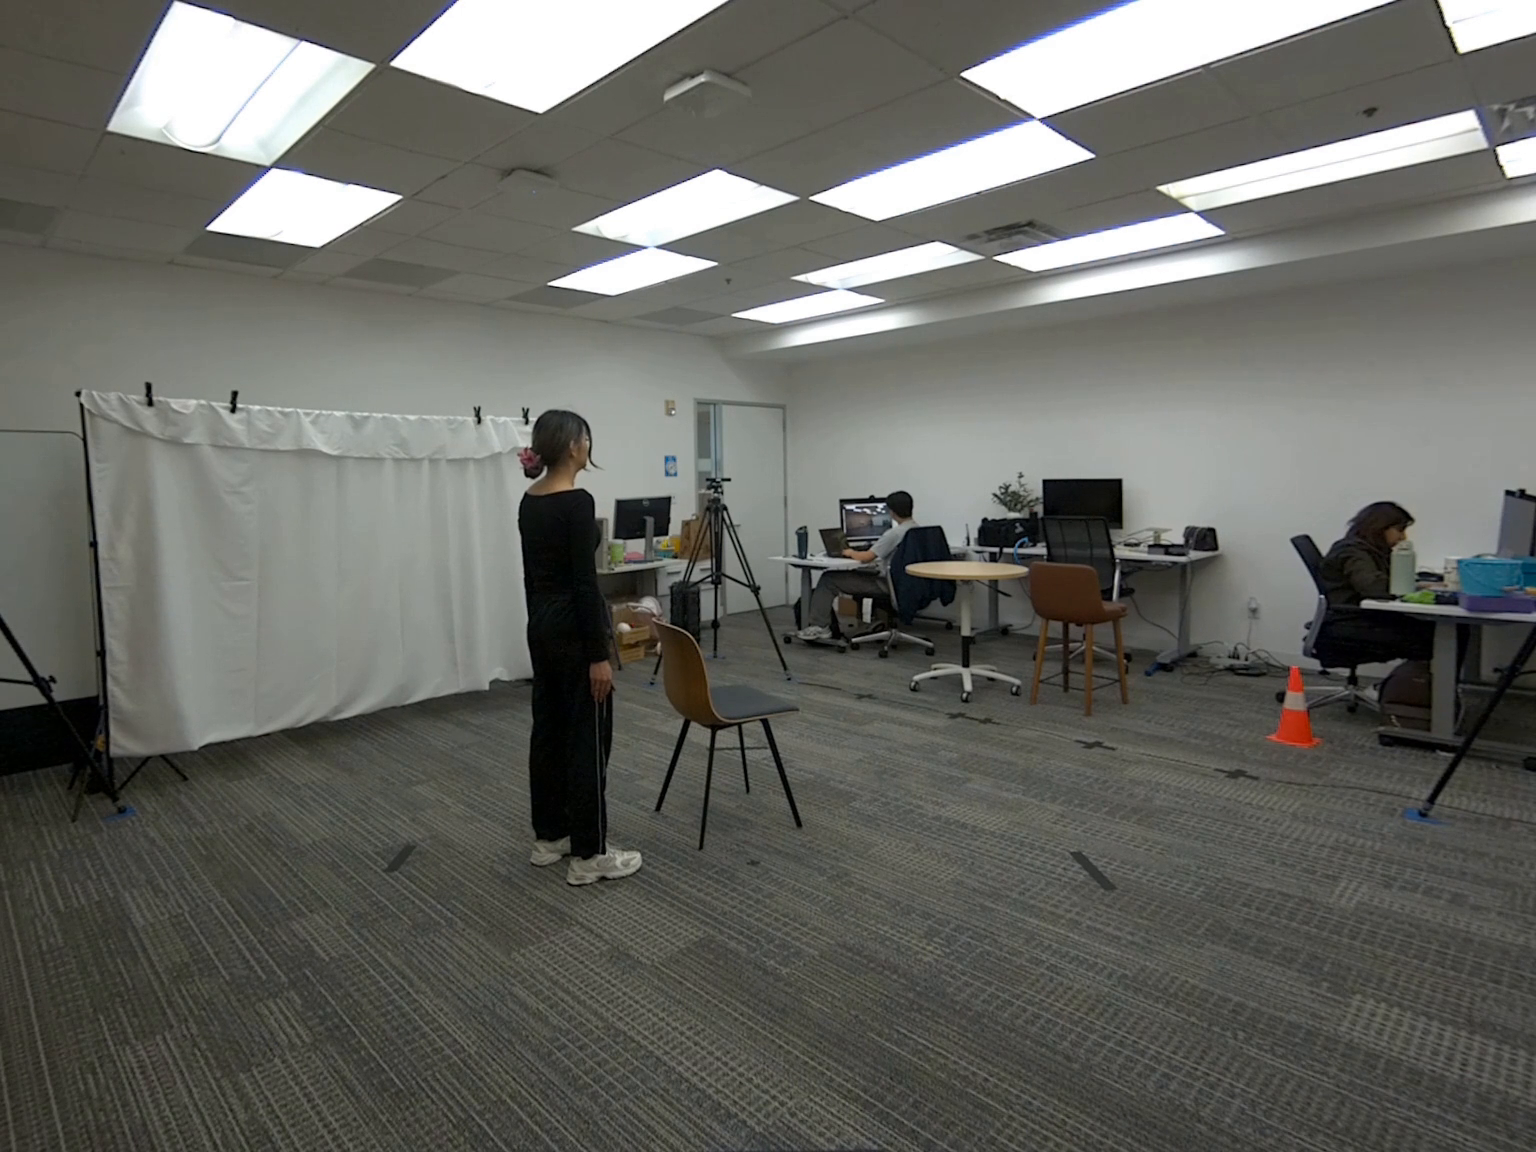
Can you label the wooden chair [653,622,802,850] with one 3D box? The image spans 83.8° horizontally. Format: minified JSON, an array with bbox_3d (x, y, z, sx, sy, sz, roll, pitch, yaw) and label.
[{"bbox_3d":[-0.172,0.576,3.485,0.512,0.873,0.490,-8,6,-27],"label":"wooden chair"}]
